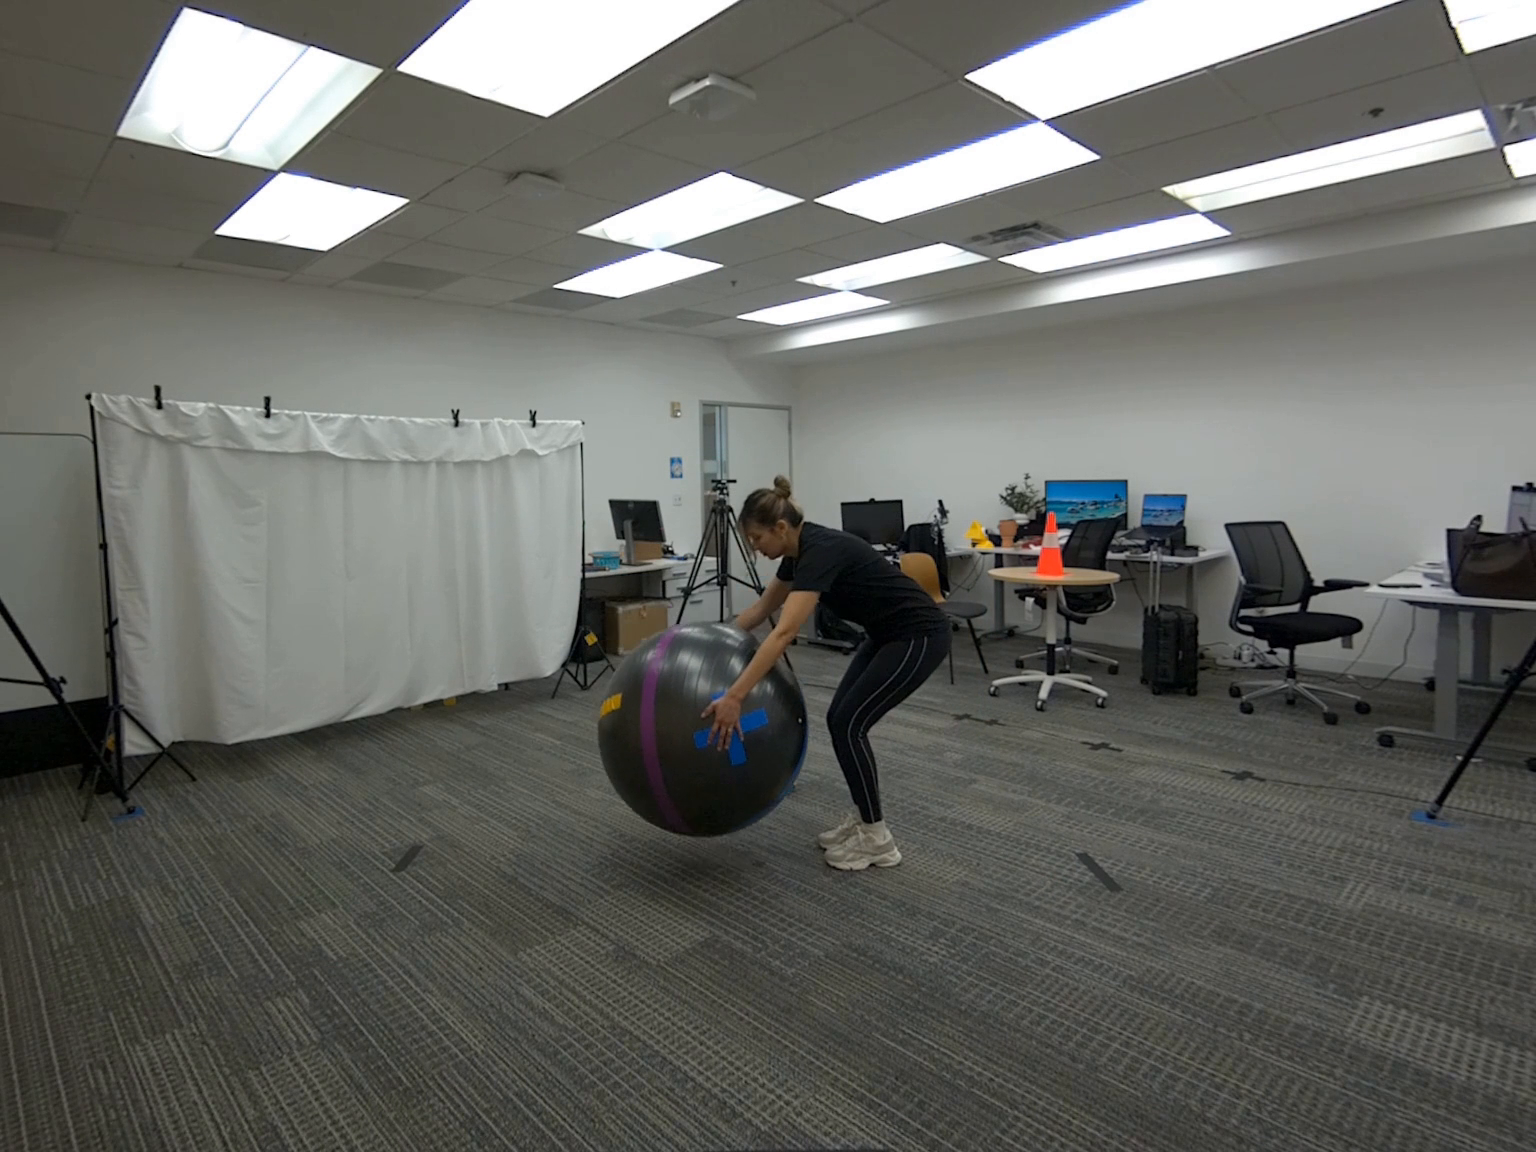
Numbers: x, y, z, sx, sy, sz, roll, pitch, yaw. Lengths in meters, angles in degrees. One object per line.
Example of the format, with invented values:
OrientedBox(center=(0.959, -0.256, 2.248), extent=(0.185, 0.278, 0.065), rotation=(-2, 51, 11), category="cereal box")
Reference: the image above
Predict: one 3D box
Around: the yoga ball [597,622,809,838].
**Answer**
OrientedBox(center=(-0.235, 0.540, 3.092), extent=(0.757, 0.755, 0.762), rotation=(-1, 5, -2), category="yoga ball")
